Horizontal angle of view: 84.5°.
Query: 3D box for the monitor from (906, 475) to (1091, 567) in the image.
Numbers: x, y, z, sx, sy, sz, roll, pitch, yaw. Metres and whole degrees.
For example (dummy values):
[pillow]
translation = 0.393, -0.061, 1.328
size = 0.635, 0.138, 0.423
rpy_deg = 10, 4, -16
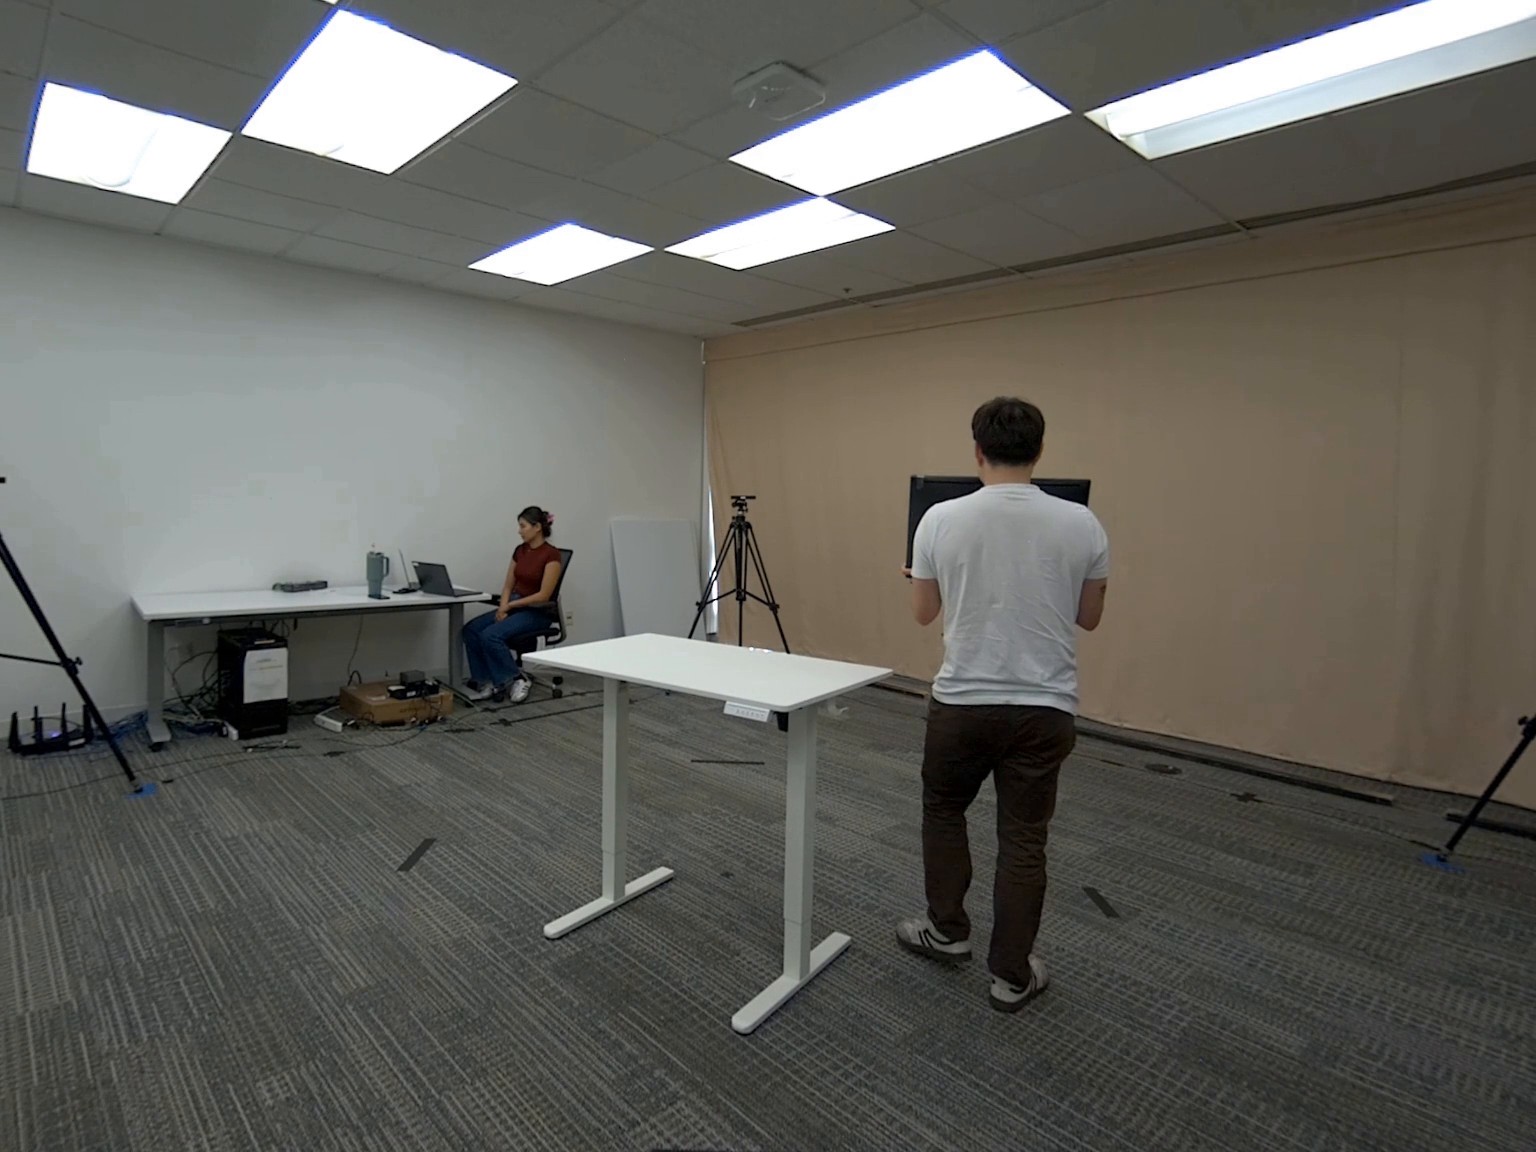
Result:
[monitor]
translation = 0.705, -0.043, 2.626
size = 0.543, 0.520, 0.186
rpy_deg = 3, 7, 9
